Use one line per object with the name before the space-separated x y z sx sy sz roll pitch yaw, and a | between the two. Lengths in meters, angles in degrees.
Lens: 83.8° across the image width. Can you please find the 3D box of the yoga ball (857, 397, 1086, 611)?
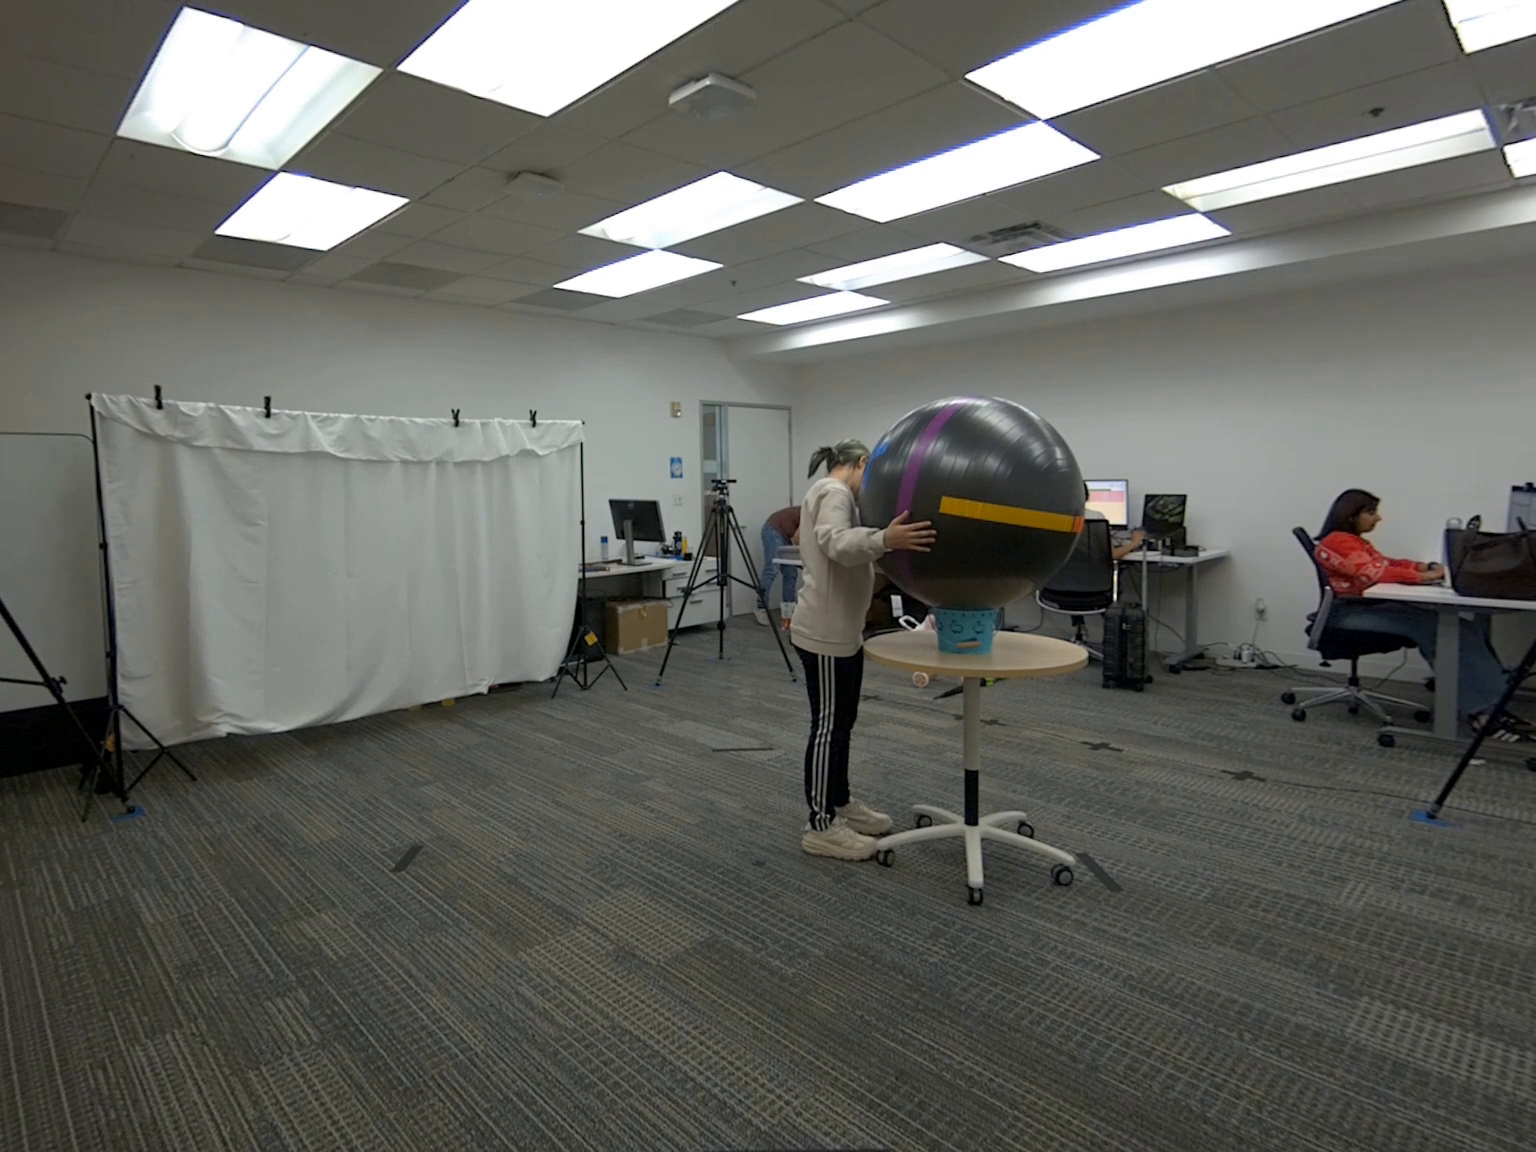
yoga ball | 0.701 -0.250 2.986 0.757 0.755 0.762 -1 5 -2
